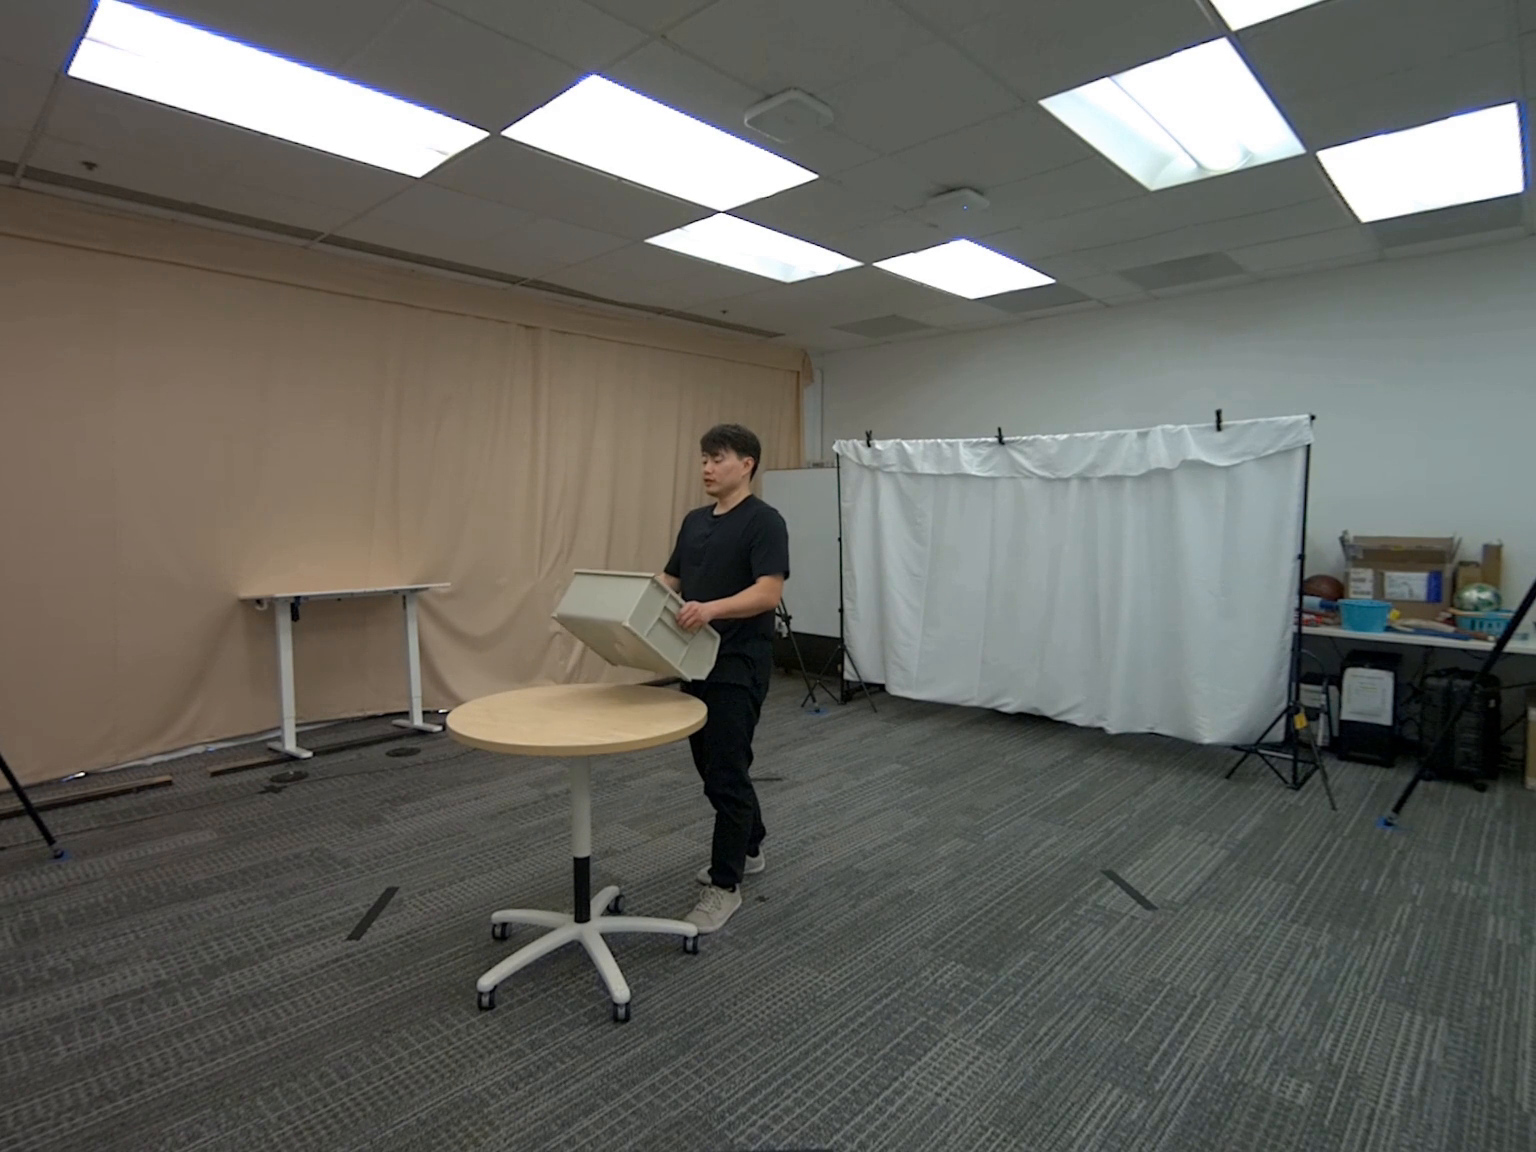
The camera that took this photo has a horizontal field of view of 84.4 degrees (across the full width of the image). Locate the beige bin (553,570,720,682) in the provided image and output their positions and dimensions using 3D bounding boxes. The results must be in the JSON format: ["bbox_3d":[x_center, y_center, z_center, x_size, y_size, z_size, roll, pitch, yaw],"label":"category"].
[{"bbox_3d":[-0.416,0.167,2.718,0.436,0.189,0.365,4,-32,46],"label":"beige bin"}]
